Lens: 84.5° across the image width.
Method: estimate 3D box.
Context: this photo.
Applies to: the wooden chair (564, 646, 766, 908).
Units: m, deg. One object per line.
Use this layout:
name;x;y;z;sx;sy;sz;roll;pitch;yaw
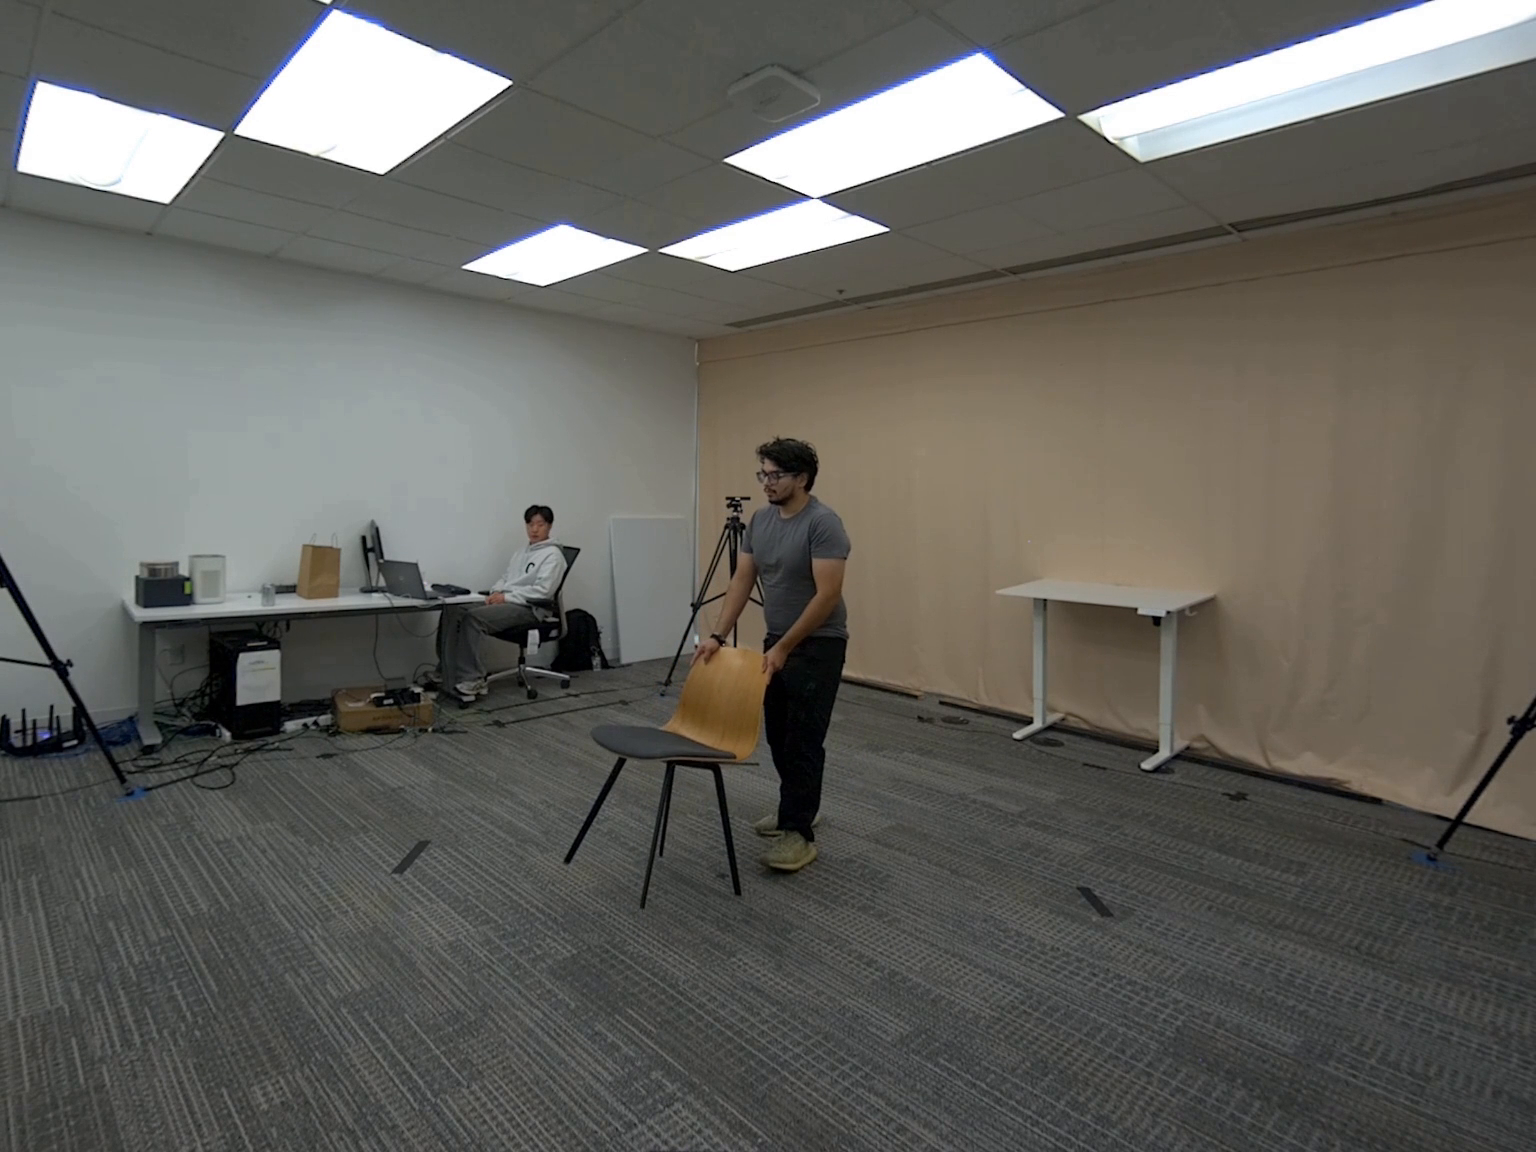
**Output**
wooden chair;-0.341;0.644;2.984;0.490;0.881;0.507;5;-12;45
